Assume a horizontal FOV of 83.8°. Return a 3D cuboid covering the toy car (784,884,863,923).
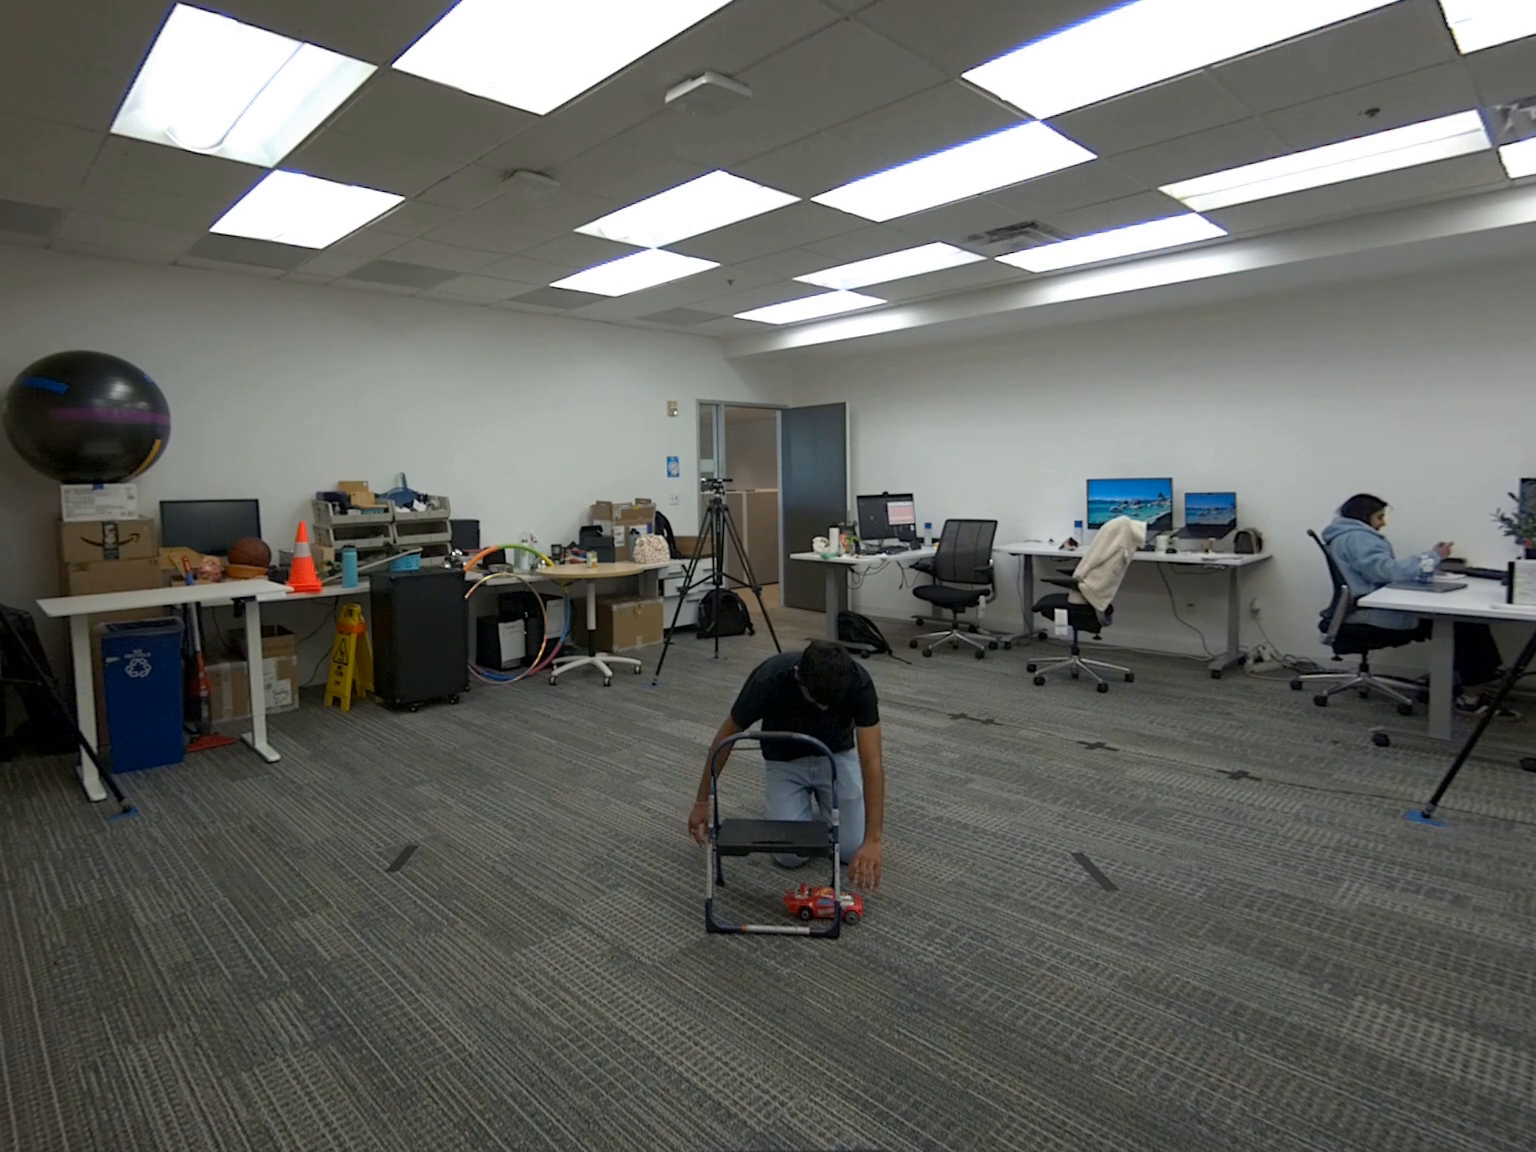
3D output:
[{"bbox_3d":[0.182,1.057,2.741,0.256,0.083,0.130,10,6,6],"label":"toy car"}]
